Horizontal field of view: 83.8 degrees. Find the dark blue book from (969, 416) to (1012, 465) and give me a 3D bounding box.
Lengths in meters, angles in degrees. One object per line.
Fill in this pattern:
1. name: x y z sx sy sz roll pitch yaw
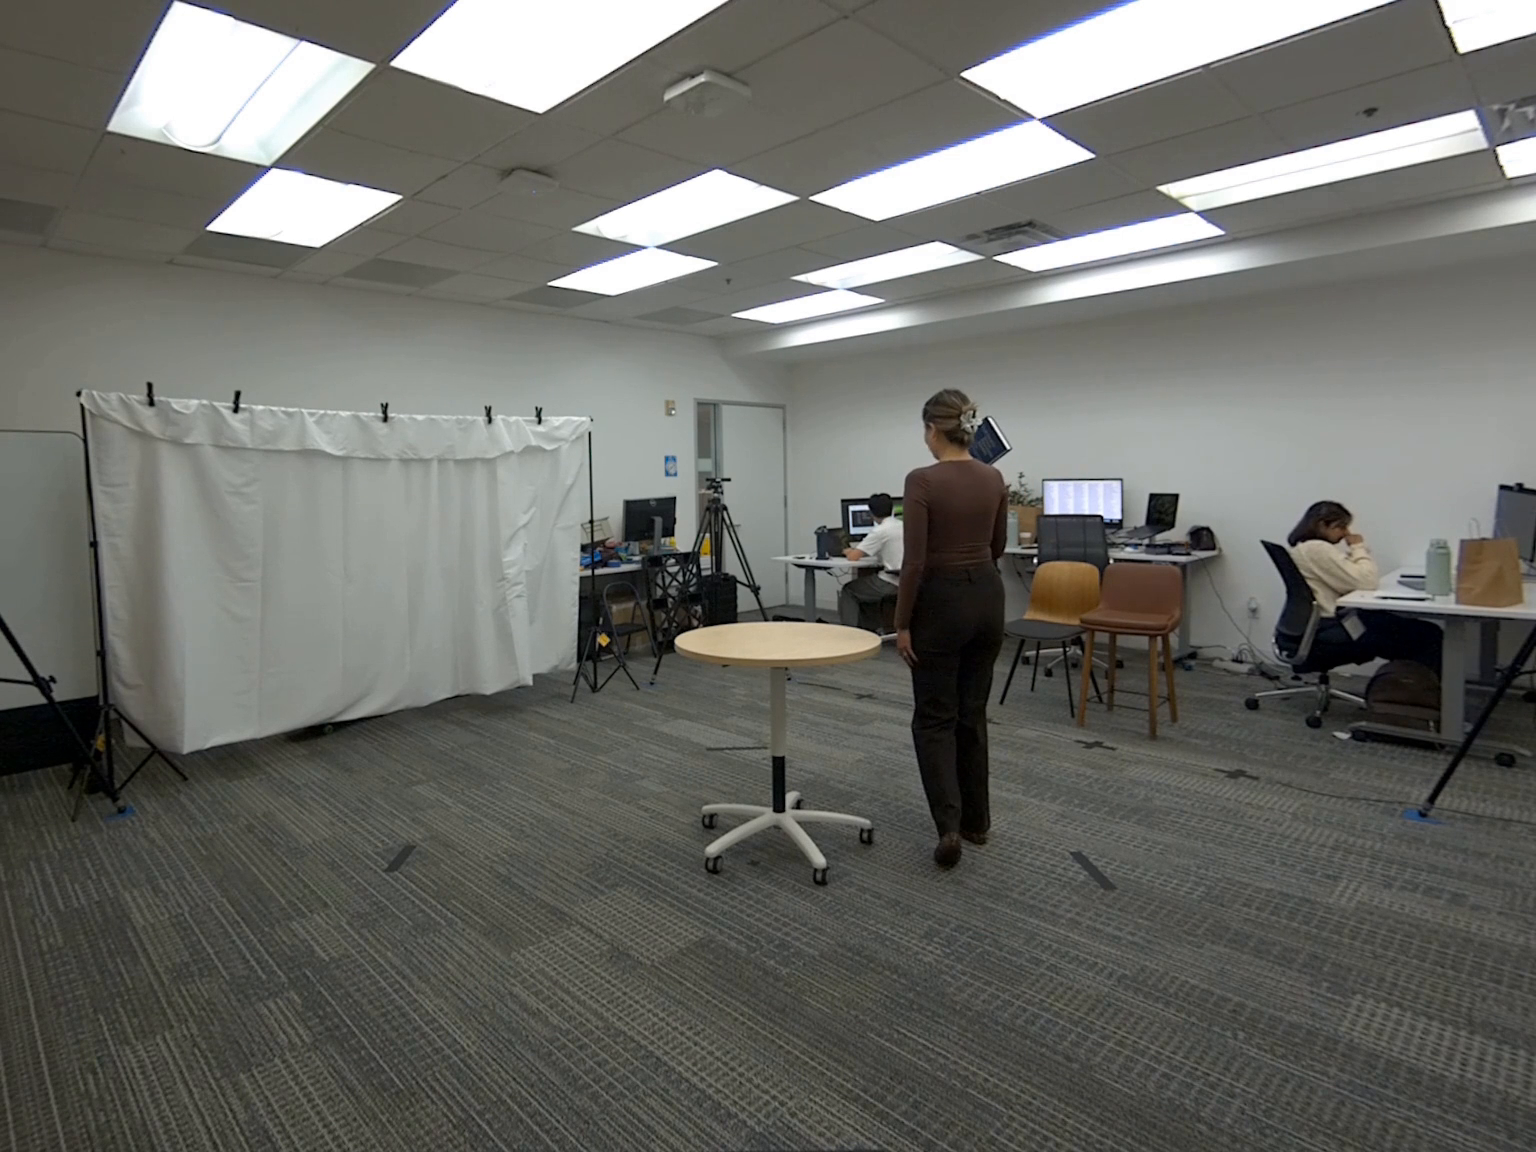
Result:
1. dark blue book: 0.835 -0.502 3.422 0.044 0.167 0.246 -2 -30 -46
